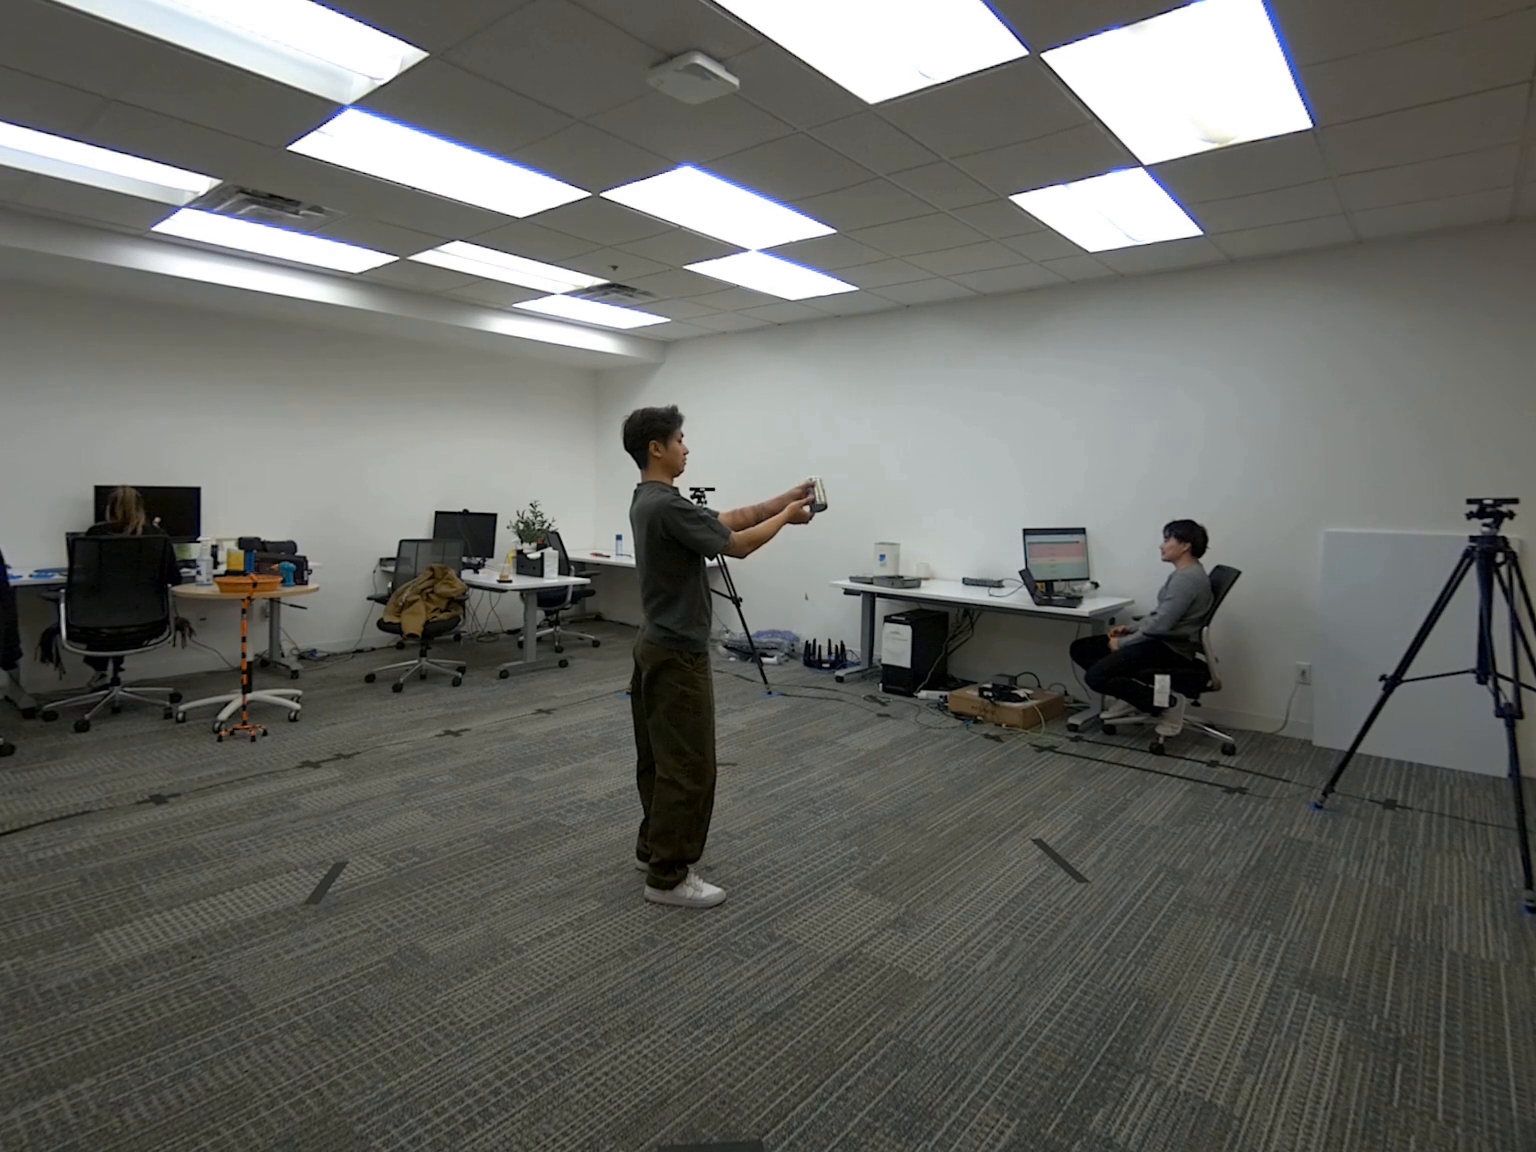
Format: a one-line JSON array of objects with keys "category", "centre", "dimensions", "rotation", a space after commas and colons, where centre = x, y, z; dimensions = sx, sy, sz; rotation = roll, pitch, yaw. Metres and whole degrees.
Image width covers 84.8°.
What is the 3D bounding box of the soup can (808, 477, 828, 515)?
[{"category": "soup can", "centre": [0.168, -0.296, 3.065], "dimensions": [0.067, 0.124, 0.066], "rotation": [-4, -19, -3]}]
